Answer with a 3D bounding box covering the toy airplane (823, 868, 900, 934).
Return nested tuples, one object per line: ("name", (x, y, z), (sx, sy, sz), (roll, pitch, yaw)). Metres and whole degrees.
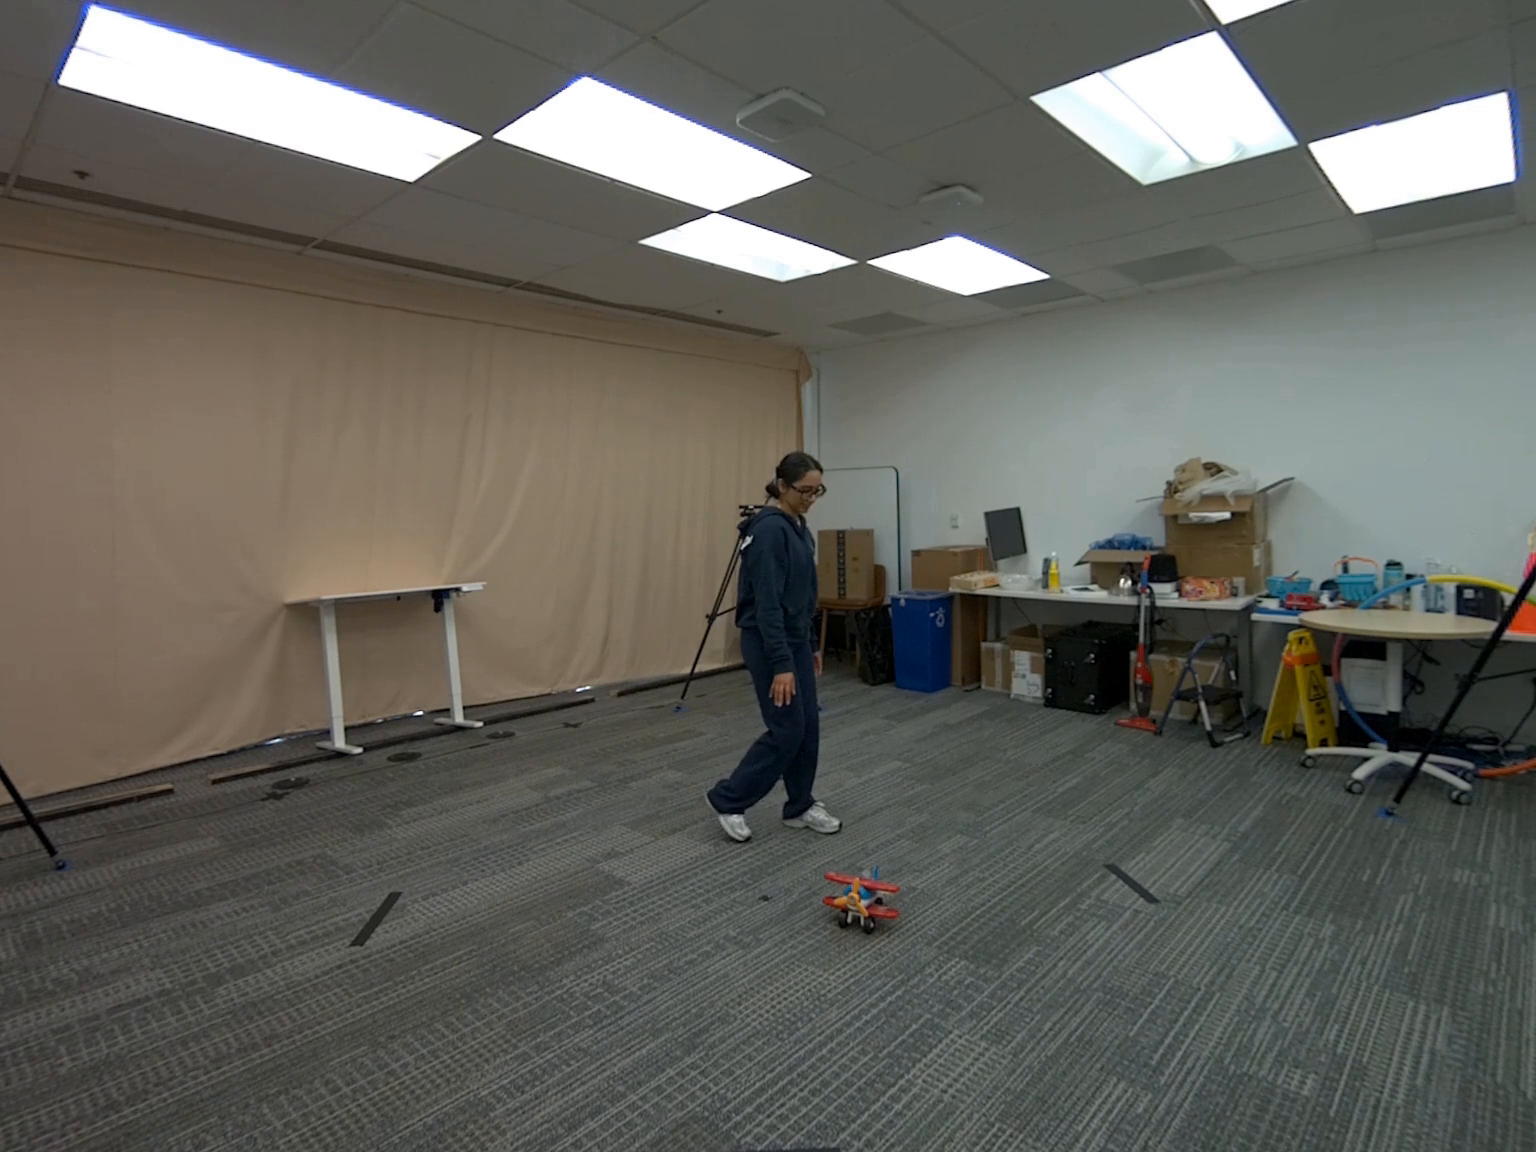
("toy airplane", (0.310, 1.072, 2.826), (0.250, 0.156, 0.260), (1, 4, -4))
